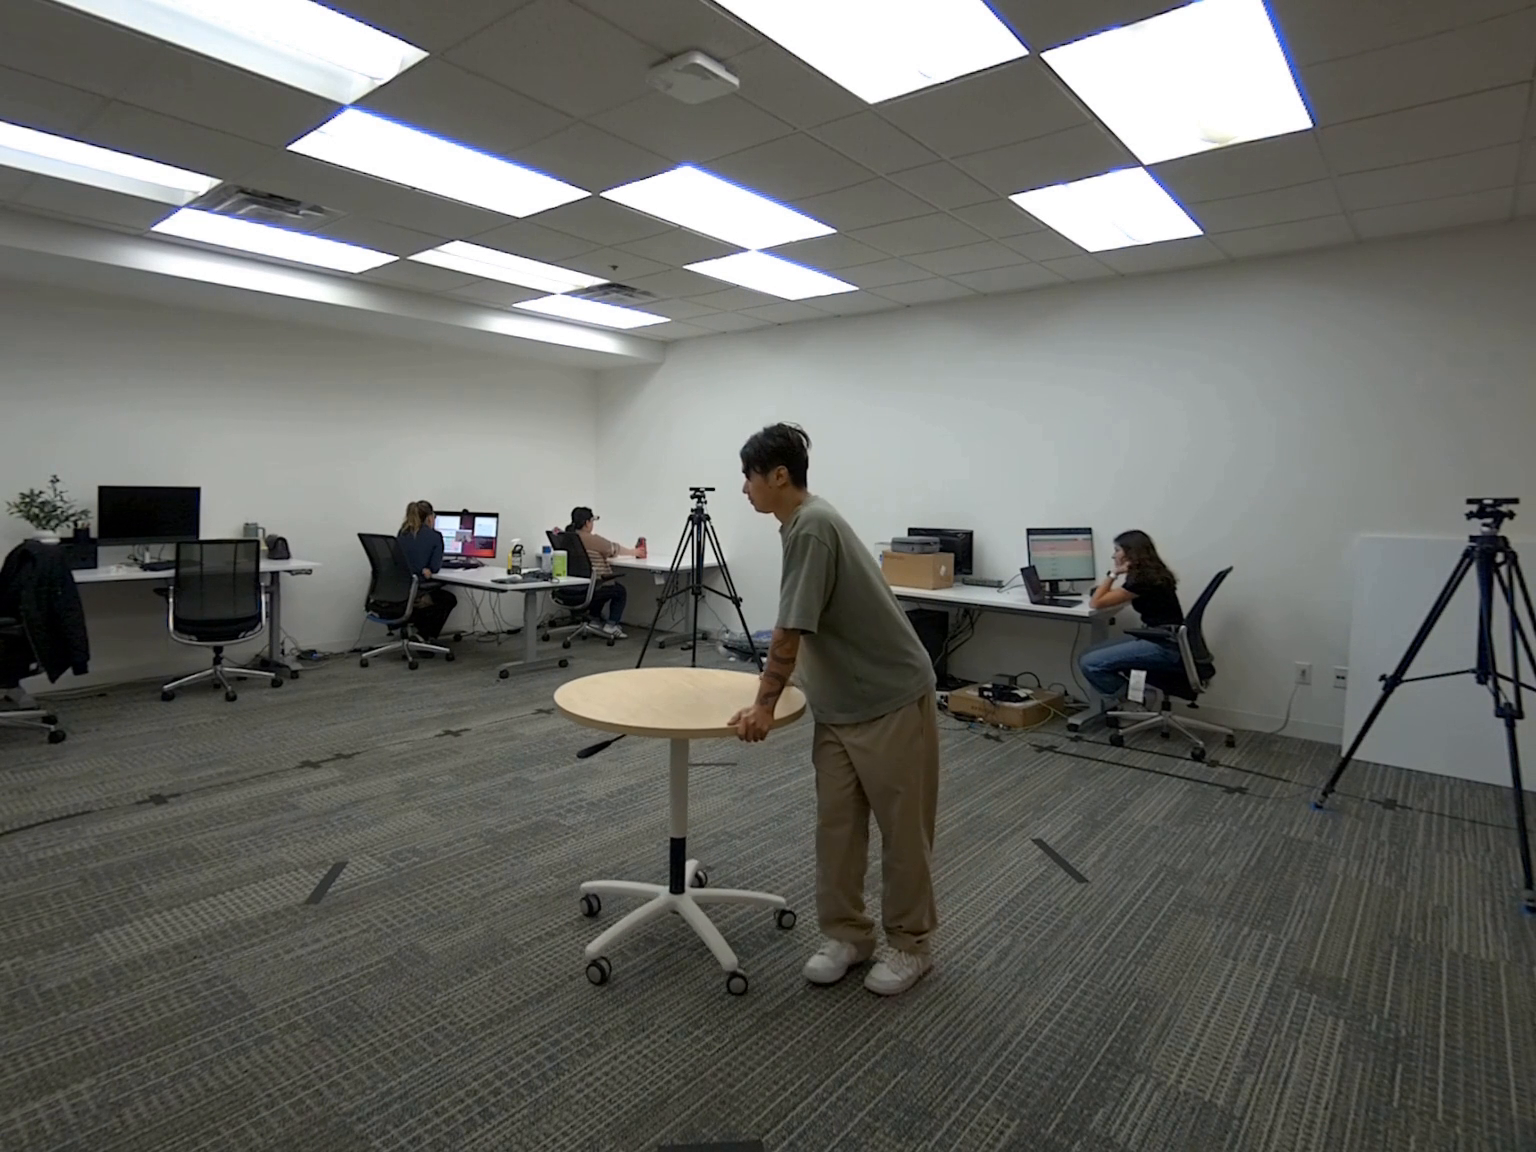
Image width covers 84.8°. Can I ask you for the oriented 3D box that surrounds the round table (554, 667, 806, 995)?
[{"bbox_3d":[-0.276,0.734,2.634,0.784,0.784,0.789,1,4,-2],"label":"round table"}]
